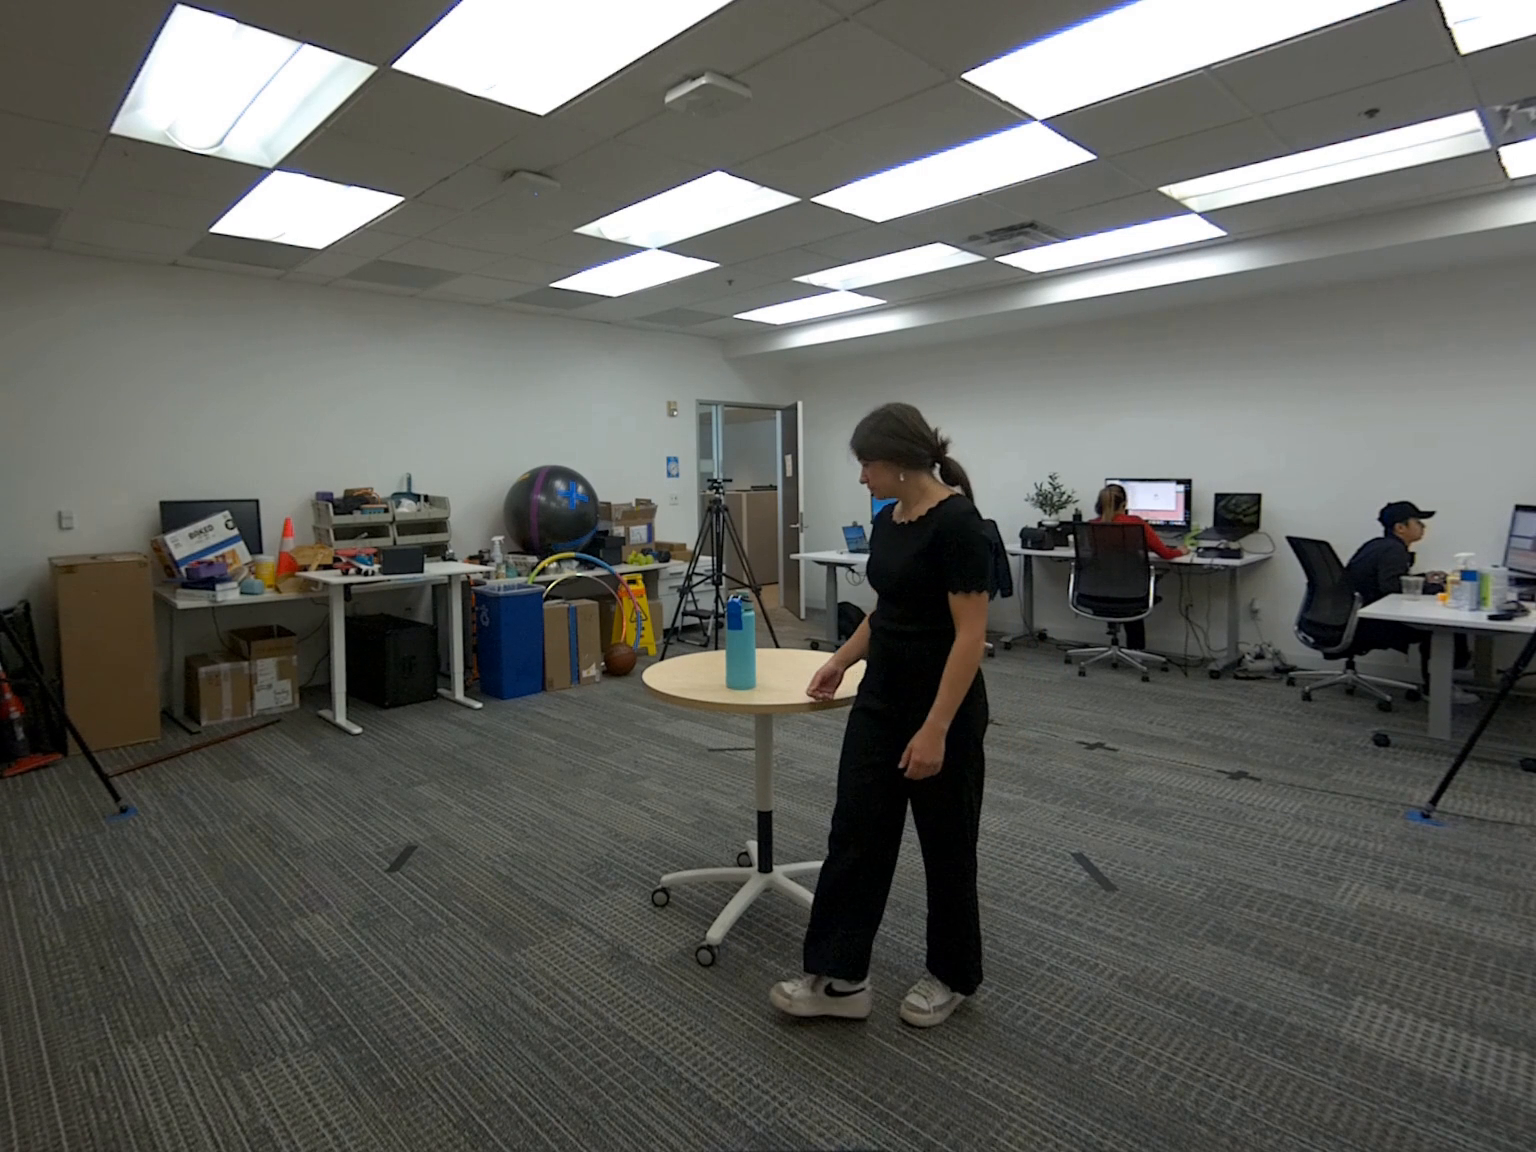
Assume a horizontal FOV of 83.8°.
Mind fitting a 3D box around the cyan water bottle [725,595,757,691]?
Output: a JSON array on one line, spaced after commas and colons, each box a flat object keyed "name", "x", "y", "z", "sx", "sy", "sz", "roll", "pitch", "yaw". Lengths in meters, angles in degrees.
[{"name": "cyan water bottle", "x": -0.082, "y": 0.186, "z": 2.520, "sx": 0.092, "sy": 0.283, "sz": 0.092, "roll": -1, "pitch": 2, "yaw": -2}]
